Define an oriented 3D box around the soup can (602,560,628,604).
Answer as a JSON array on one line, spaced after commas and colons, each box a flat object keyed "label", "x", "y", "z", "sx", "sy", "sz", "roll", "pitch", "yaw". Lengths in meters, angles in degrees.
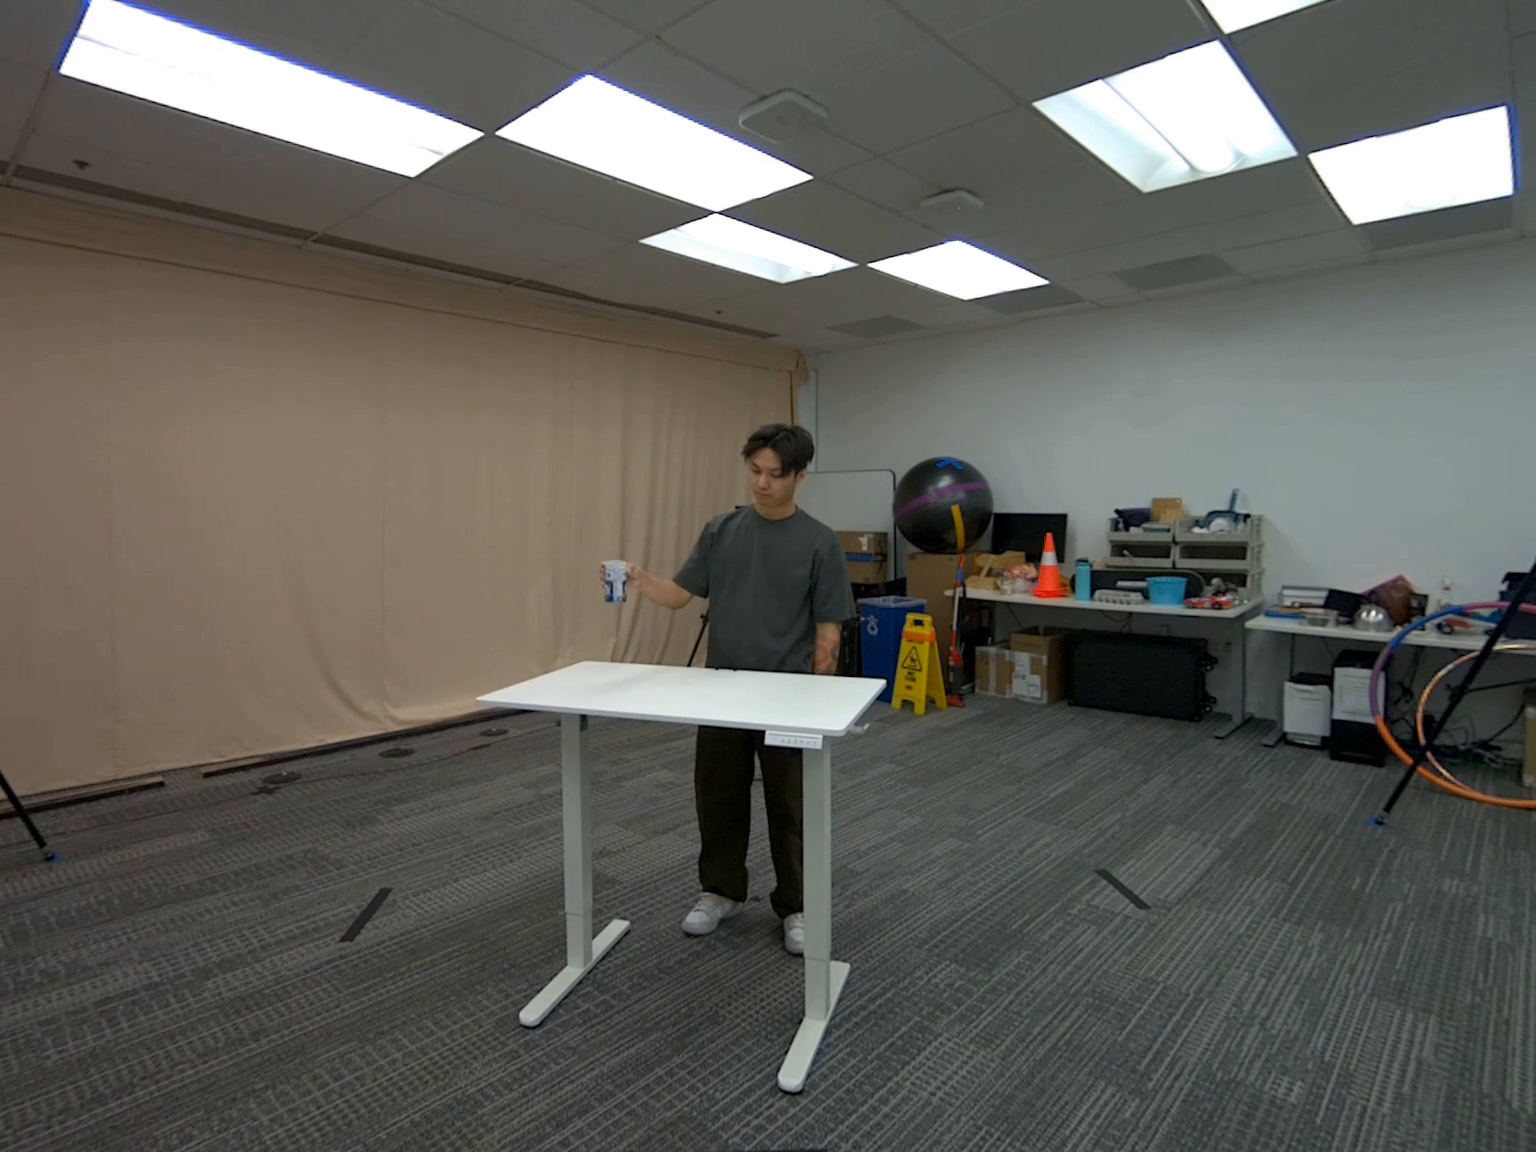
[{"label": "soup can", "x": -0.438, "y": 0.020, "z": 2.509, "sx": 0.067, "sy": 0.121, "sz": 0.067, "roll": 2, "pitch": 4, "yaw": -2}]
